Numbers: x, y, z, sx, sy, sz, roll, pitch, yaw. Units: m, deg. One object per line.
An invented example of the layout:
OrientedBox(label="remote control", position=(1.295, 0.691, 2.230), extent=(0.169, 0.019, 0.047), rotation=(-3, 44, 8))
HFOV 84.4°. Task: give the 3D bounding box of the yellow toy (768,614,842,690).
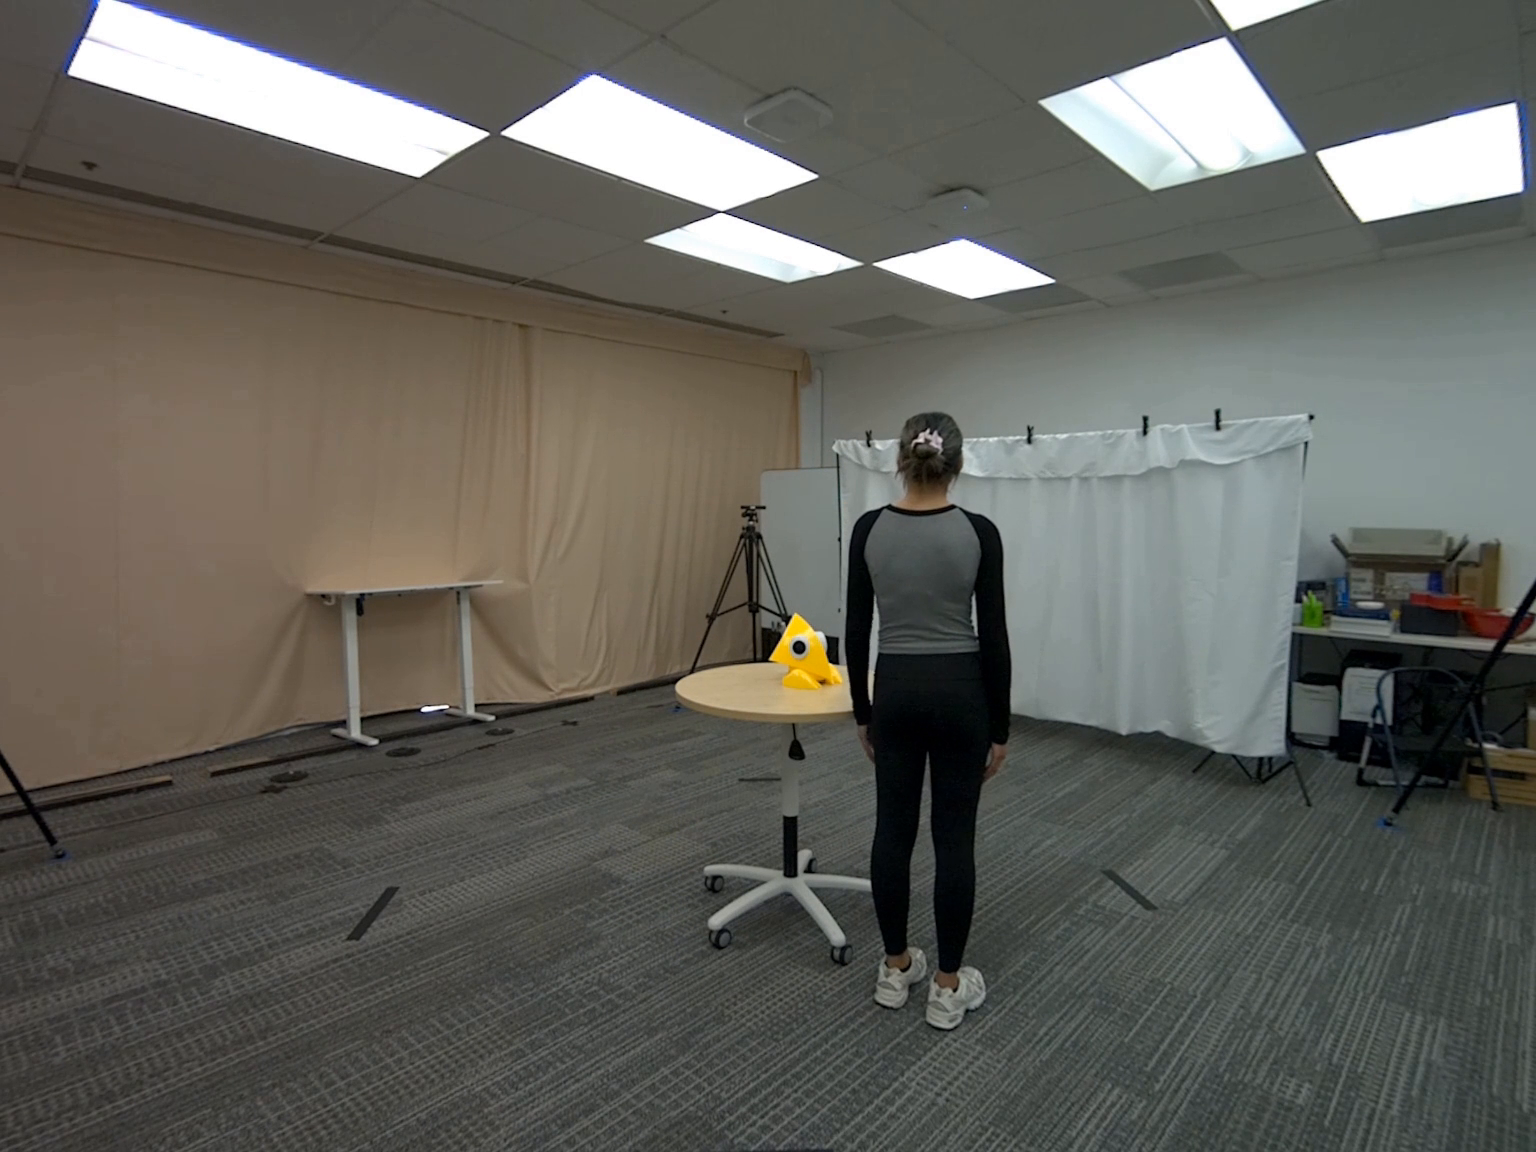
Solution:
OrientedBox(label="yellow toy", position=(0.144, 0.247, 2.848), extent=(0.198, 0.230, 0.199), rotation=(-4, 6, -44))
